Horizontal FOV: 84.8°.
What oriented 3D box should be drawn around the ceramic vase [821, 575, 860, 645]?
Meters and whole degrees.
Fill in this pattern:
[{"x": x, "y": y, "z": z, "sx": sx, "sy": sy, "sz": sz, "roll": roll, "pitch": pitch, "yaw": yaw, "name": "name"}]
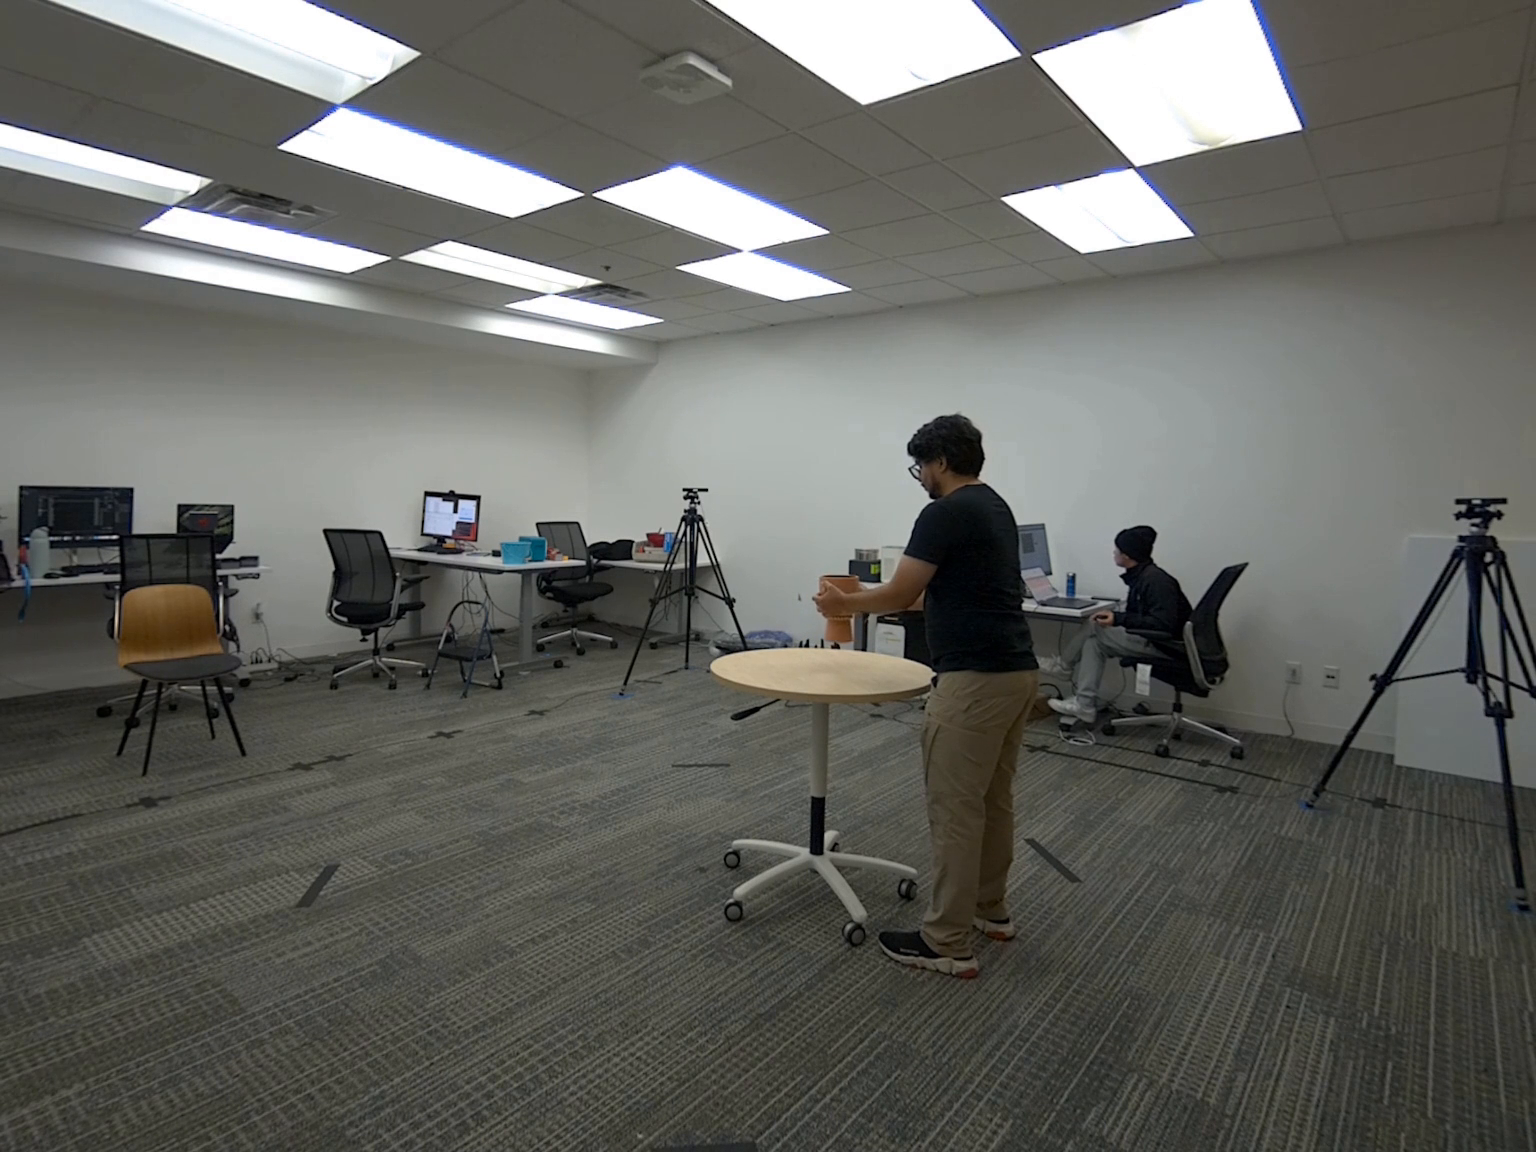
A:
[{"x": 0.233, "y": 0.111, "z": 2.889, "sx": 0.155, "sy": 0.219, "sz": 0.138, "roll": 5, "pitch": 3, "yaw": -21, "name": "ceramic vase"}]
